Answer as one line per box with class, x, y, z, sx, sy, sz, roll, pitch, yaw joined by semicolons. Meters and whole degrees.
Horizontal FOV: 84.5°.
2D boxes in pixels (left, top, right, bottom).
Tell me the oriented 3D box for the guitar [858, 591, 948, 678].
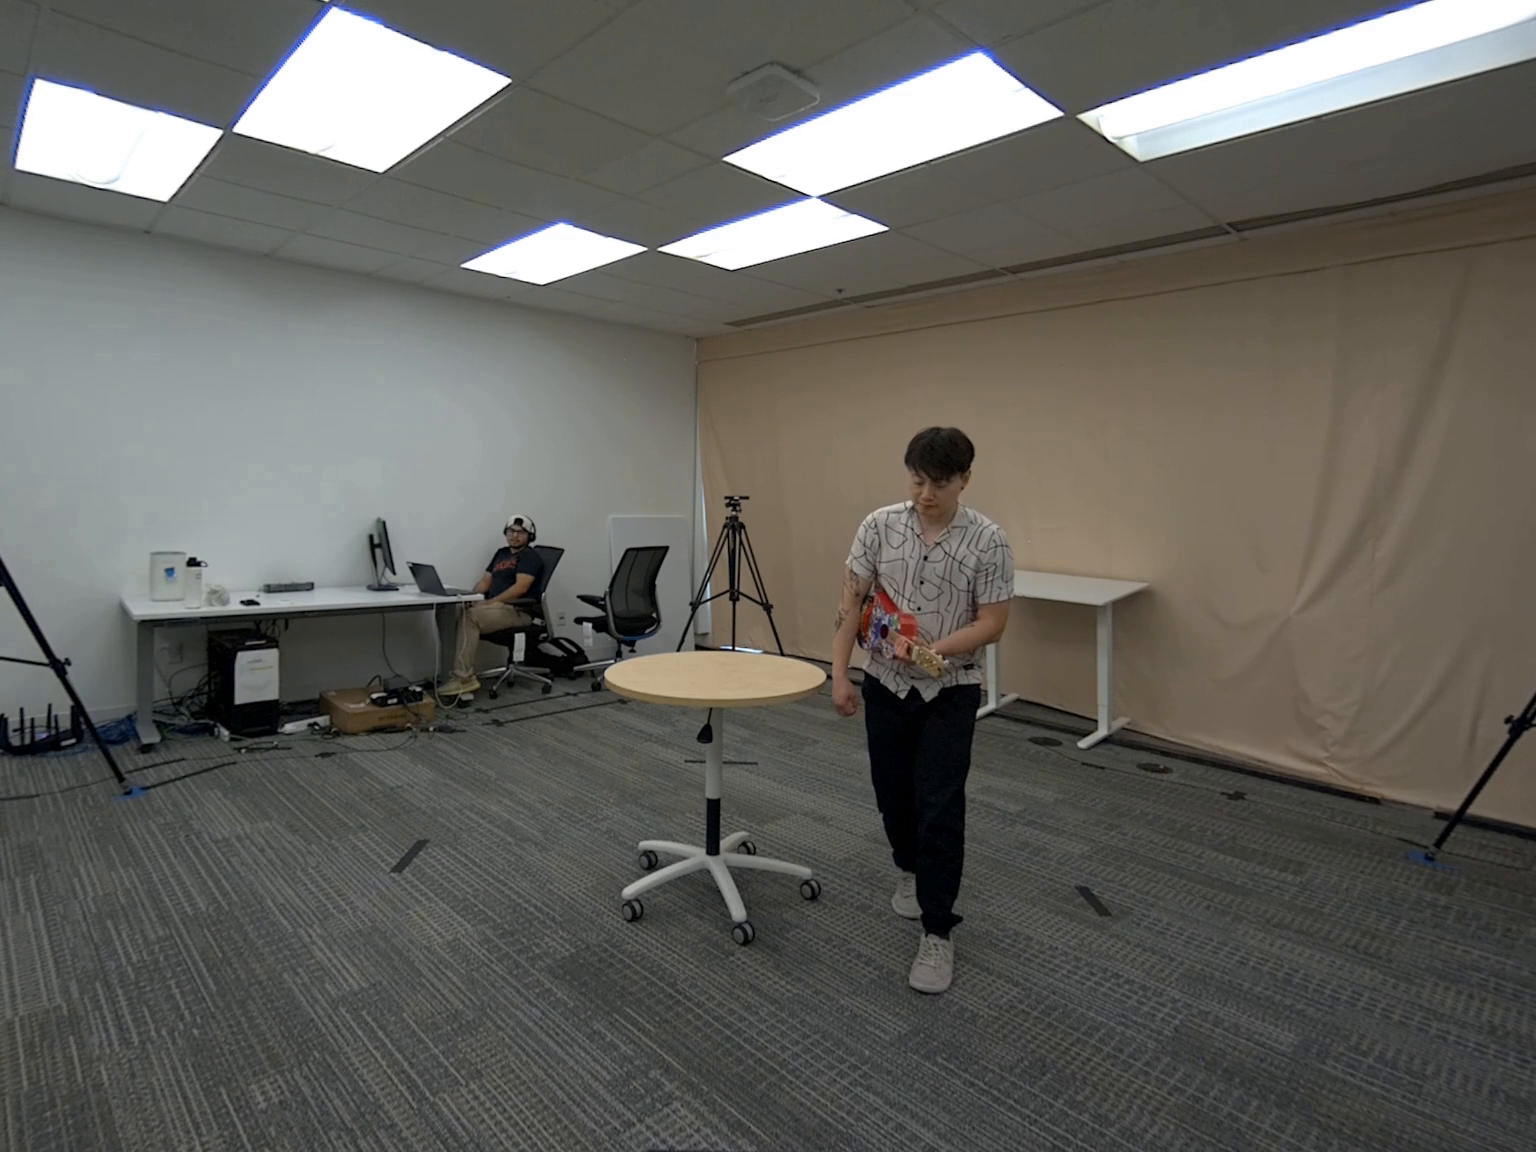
guitar;0.395;0.221;2.544;0.069;0.191;0.511;4;21;-19
